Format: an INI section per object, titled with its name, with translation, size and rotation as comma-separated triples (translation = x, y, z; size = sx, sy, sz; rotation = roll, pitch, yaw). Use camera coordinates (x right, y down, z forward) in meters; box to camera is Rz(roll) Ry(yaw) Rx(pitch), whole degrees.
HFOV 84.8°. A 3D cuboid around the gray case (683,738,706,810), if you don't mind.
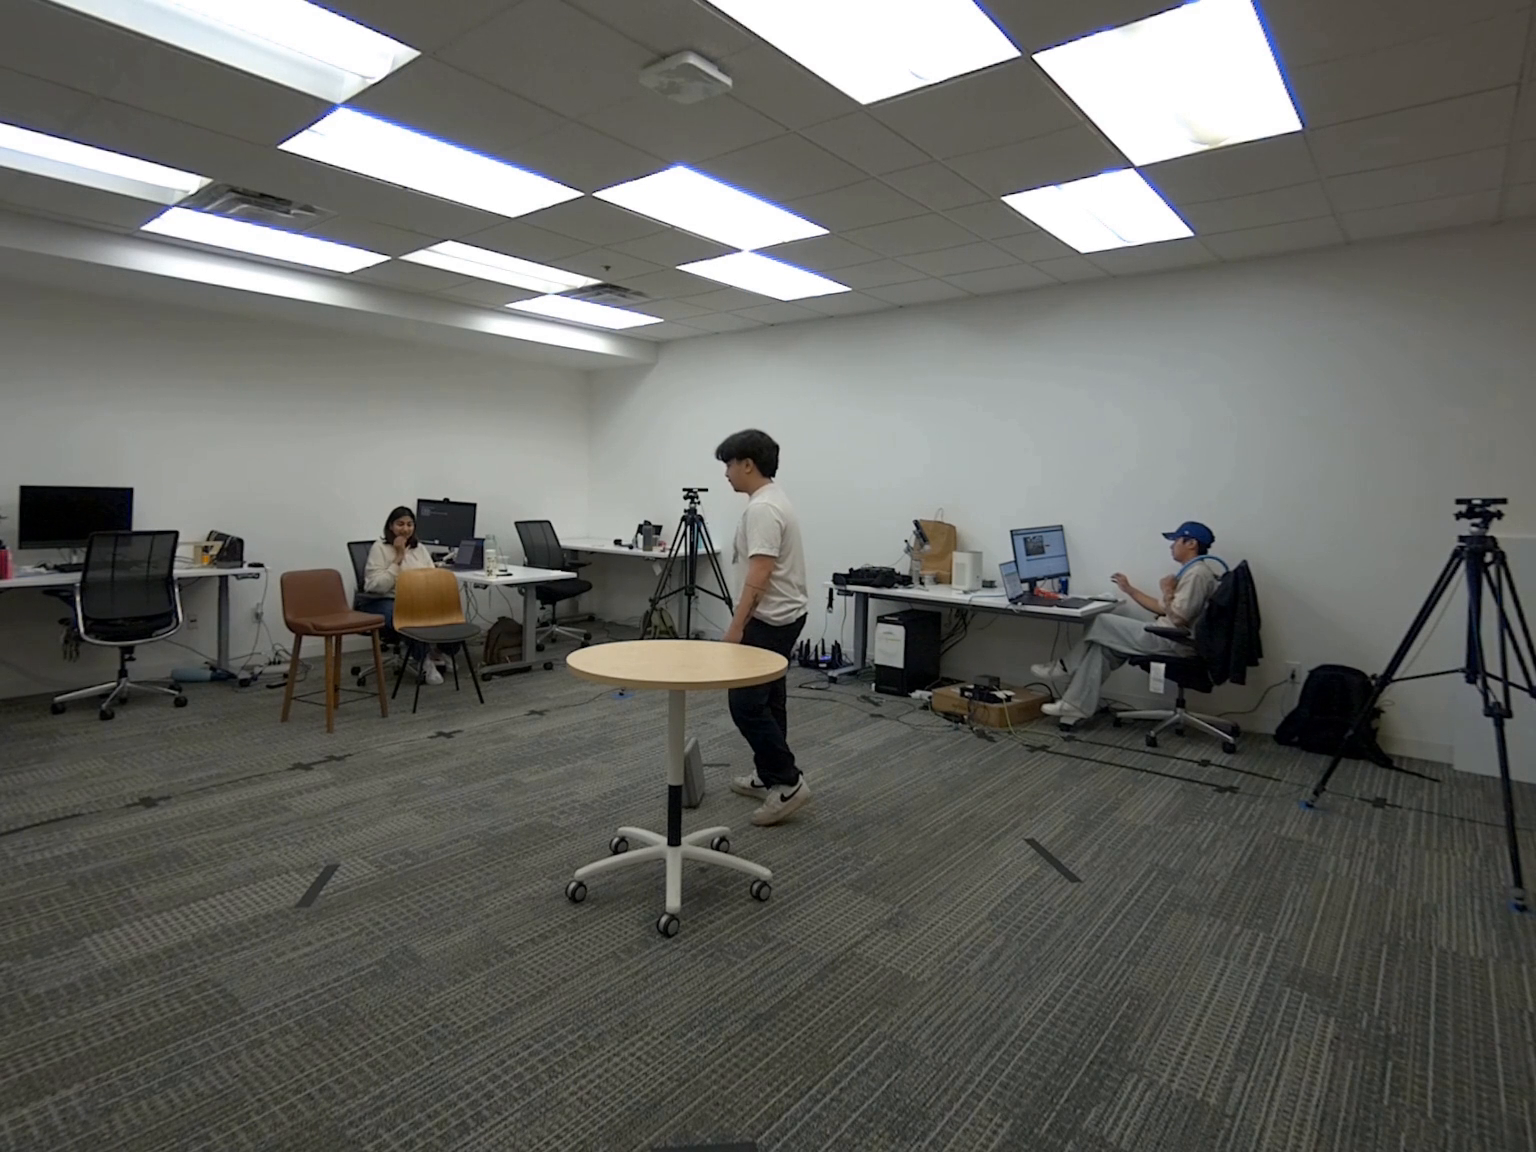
[gray case]
translation = -0.384, 0.873, 3.828
size = 0.105, 0.260, 0.255
rotation = -11, 2, 7
